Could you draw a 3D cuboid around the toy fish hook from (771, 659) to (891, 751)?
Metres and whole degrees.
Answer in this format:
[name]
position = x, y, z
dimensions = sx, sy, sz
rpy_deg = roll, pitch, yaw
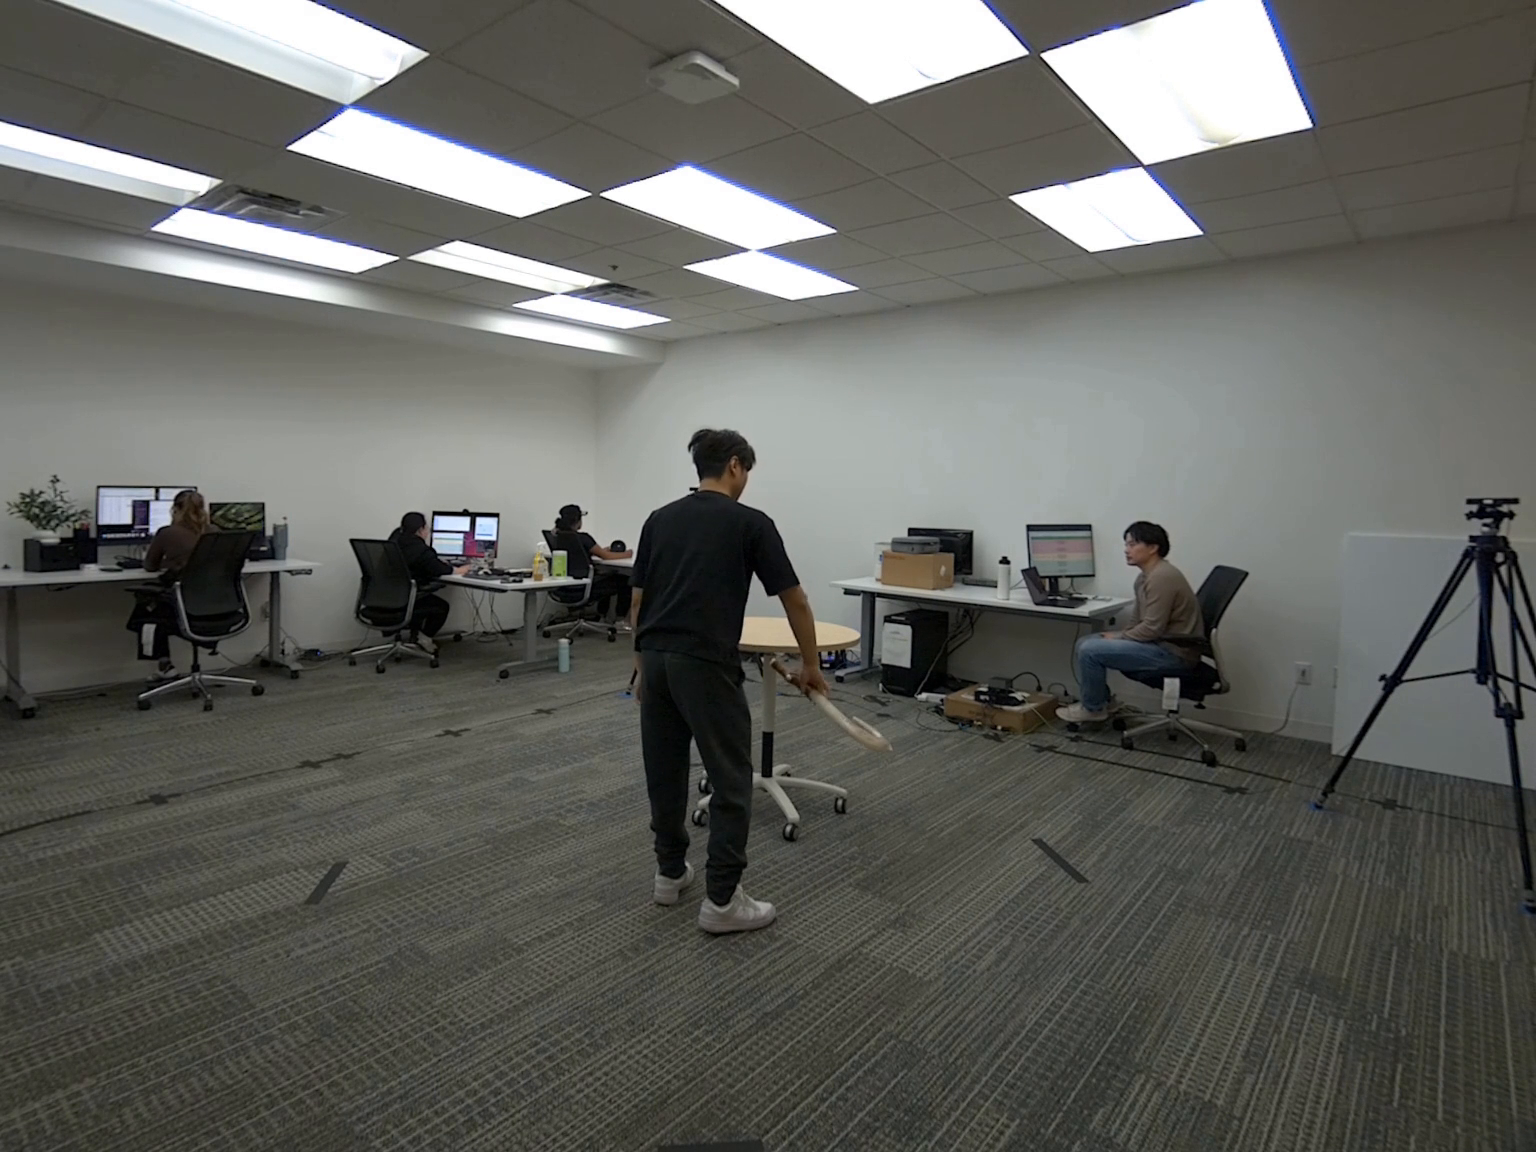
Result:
[toy fish hook]
position = 0.202, 0.430, 2.891
dimensions = 0.528, 0.048, 0.215
rpy_deg = 35, 4, 37
